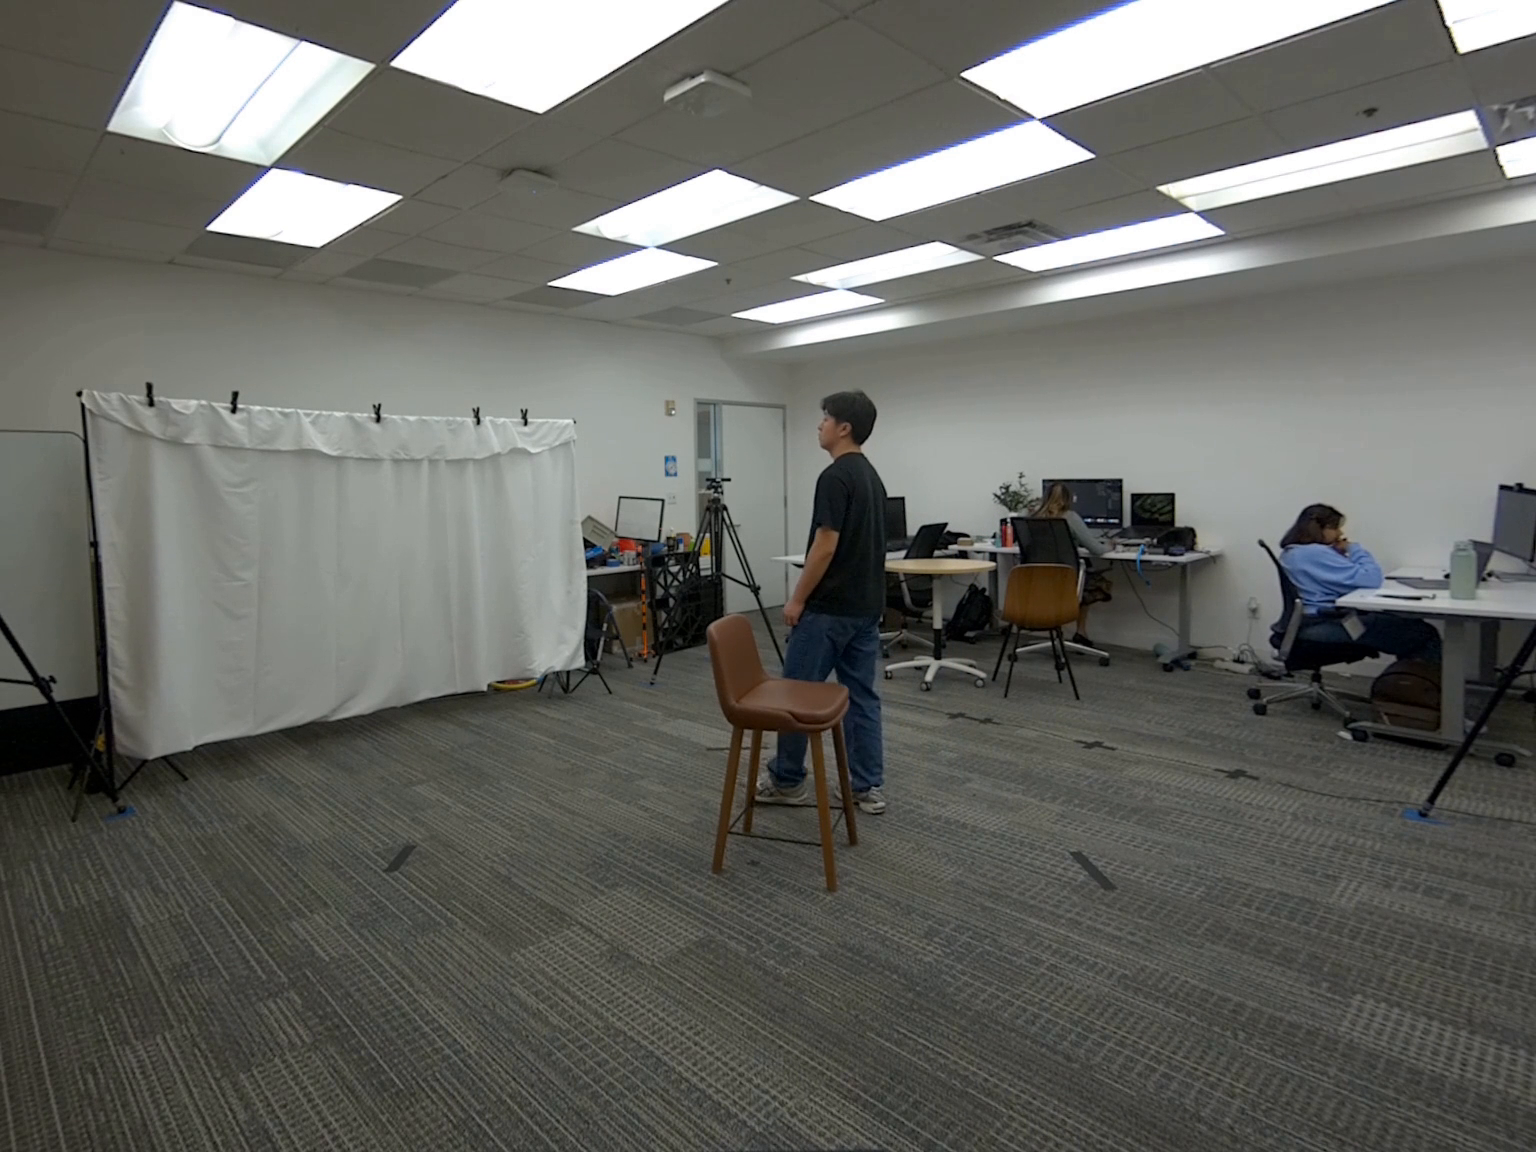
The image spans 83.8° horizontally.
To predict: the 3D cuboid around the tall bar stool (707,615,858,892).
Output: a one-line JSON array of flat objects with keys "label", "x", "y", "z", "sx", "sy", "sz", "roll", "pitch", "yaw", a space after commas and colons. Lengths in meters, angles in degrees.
[{"label": "tall bar stool", "x": 0.059, "y": 0.605, "z": 3.115, "sx": 0.476, "sy": 0.888, "sz": 0.449, "roll": -1, "pitch": 3, "yaw": 20}]
